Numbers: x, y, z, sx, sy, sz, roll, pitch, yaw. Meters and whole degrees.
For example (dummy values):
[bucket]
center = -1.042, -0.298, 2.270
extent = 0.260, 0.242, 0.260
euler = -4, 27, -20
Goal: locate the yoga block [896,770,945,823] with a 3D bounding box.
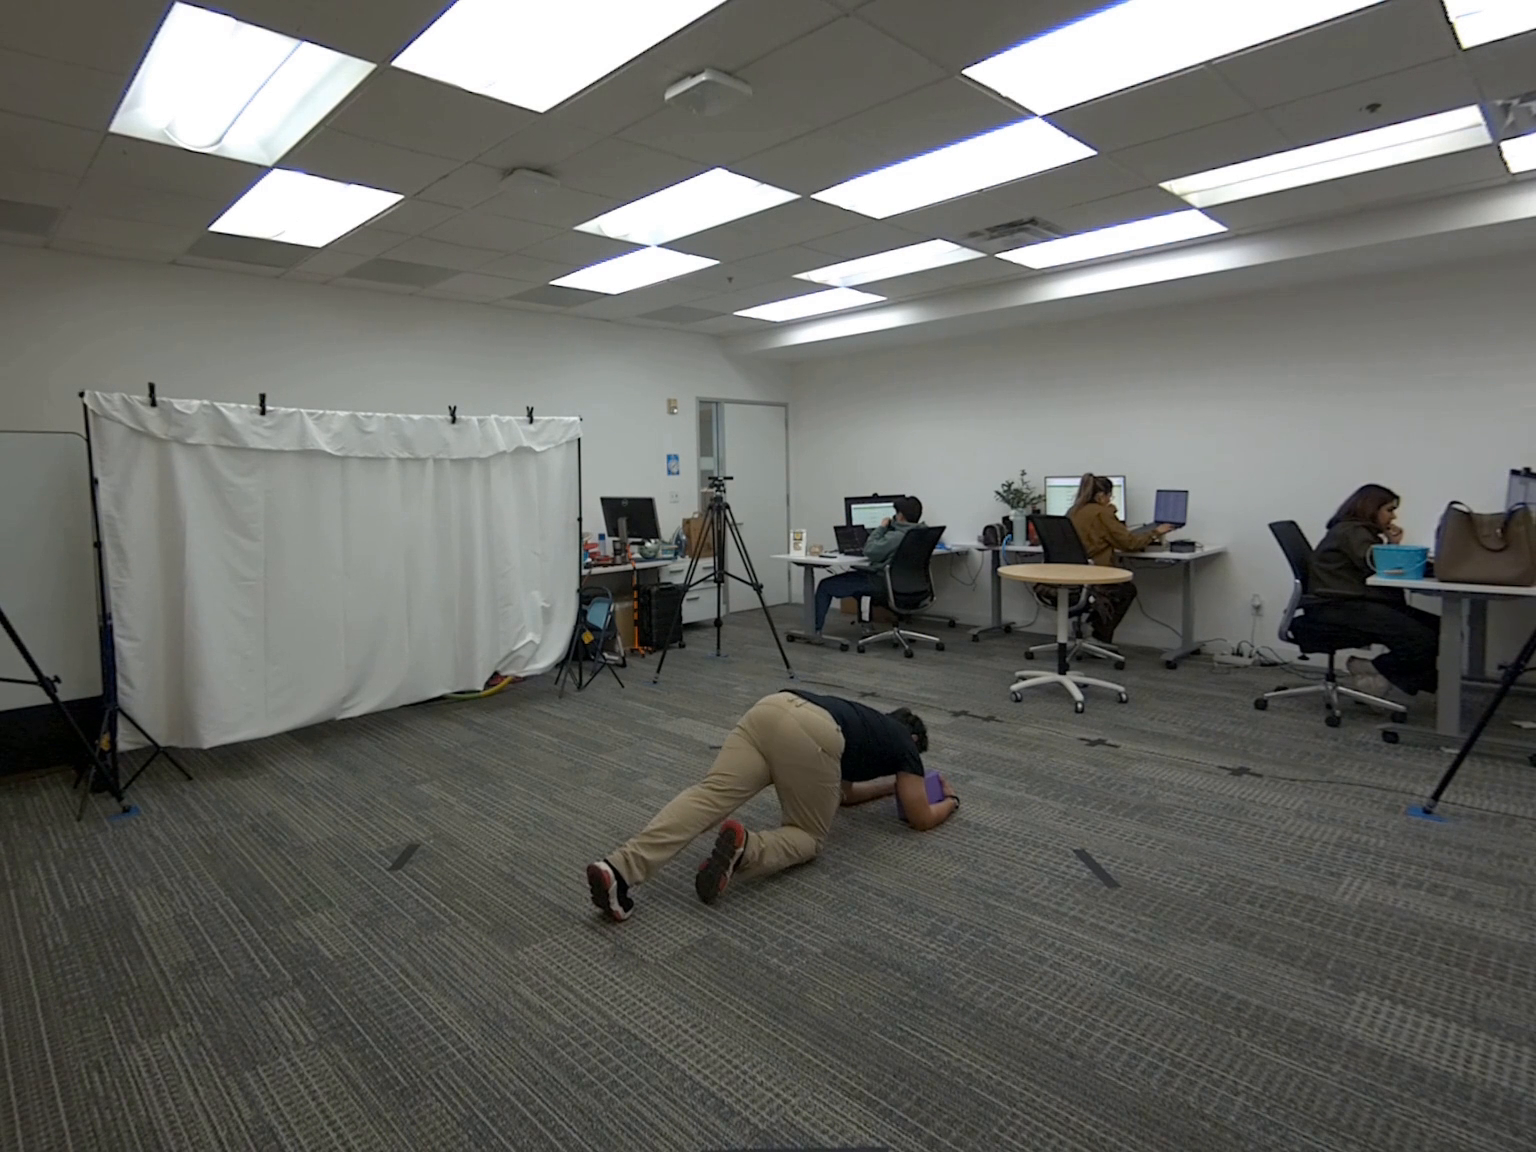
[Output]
[yoga block]
center = 0.624, 0.898, 3.516
extent = 0.224, 0.149, 0.078
euler = -8, 0, -40
